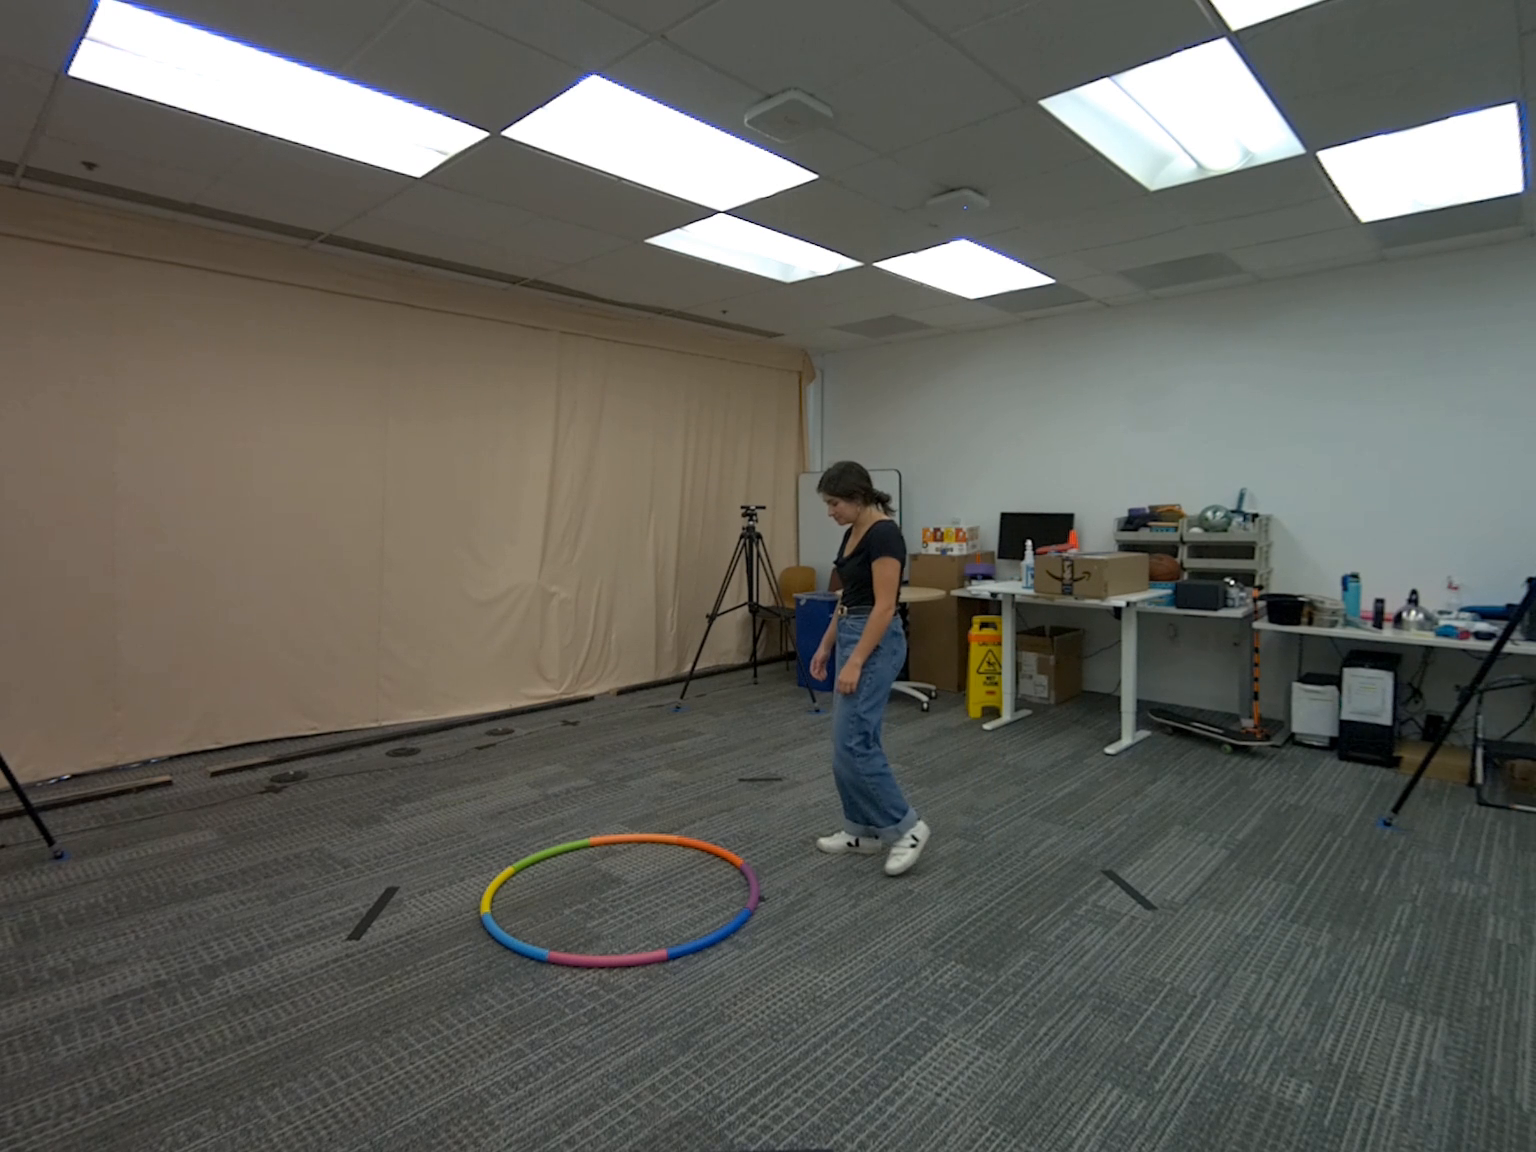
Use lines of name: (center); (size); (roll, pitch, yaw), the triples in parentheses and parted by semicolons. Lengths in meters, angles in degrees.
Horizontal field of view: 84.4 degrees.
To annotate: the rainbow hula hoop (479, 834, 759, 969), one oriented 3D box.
rainbow hula hoop: (-0.511, 1.116, 3.019); (0.978, 0.035, 0.982); (-1, 5, -2)
